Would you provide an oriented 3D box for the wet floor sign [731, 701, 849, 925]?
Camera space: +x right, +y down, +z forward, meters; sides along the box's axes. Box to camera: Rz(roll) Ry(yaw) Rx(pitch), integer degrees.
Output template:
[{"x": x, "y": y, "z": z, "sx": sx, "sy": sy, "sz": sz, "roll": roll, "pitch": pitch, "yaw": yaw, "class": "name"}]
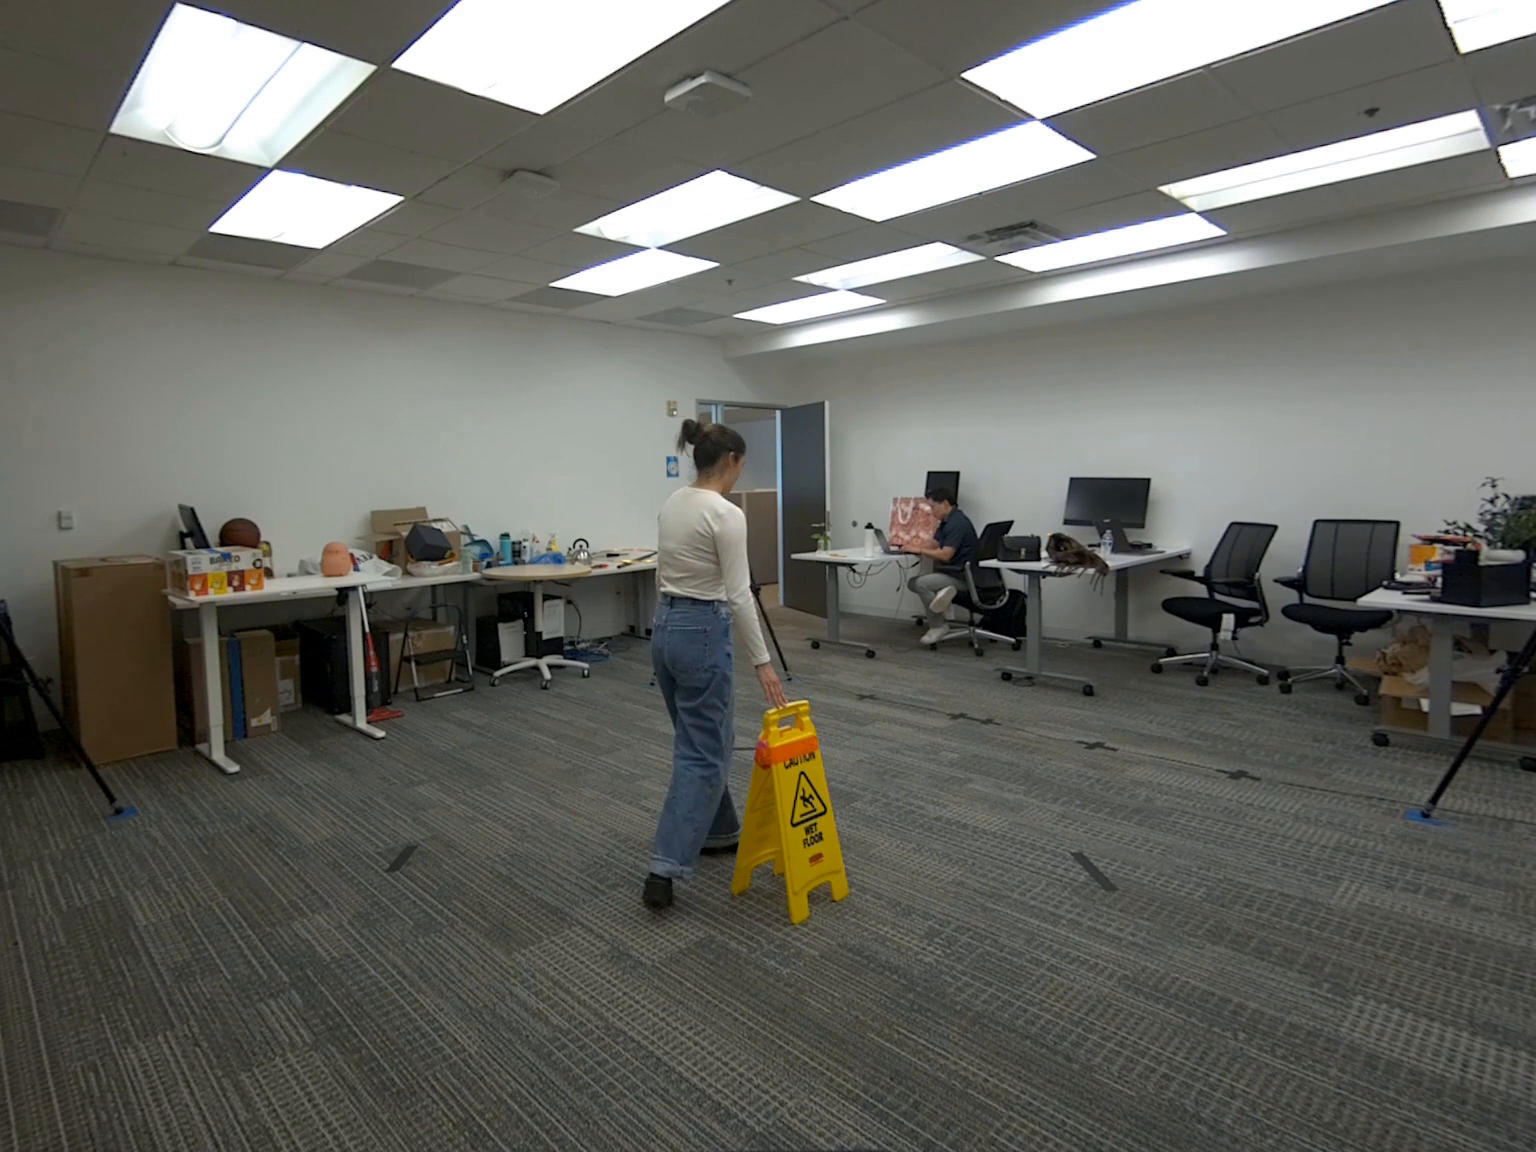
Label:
[{"x": 0.073, "y": 0.746, "z": 2.846, "sx": 0.275, "sy": 0.643, "sz": 0.299, "roll": -5, "pitch": 7, "yaw": -45, "class": "wet floor sign"}]
